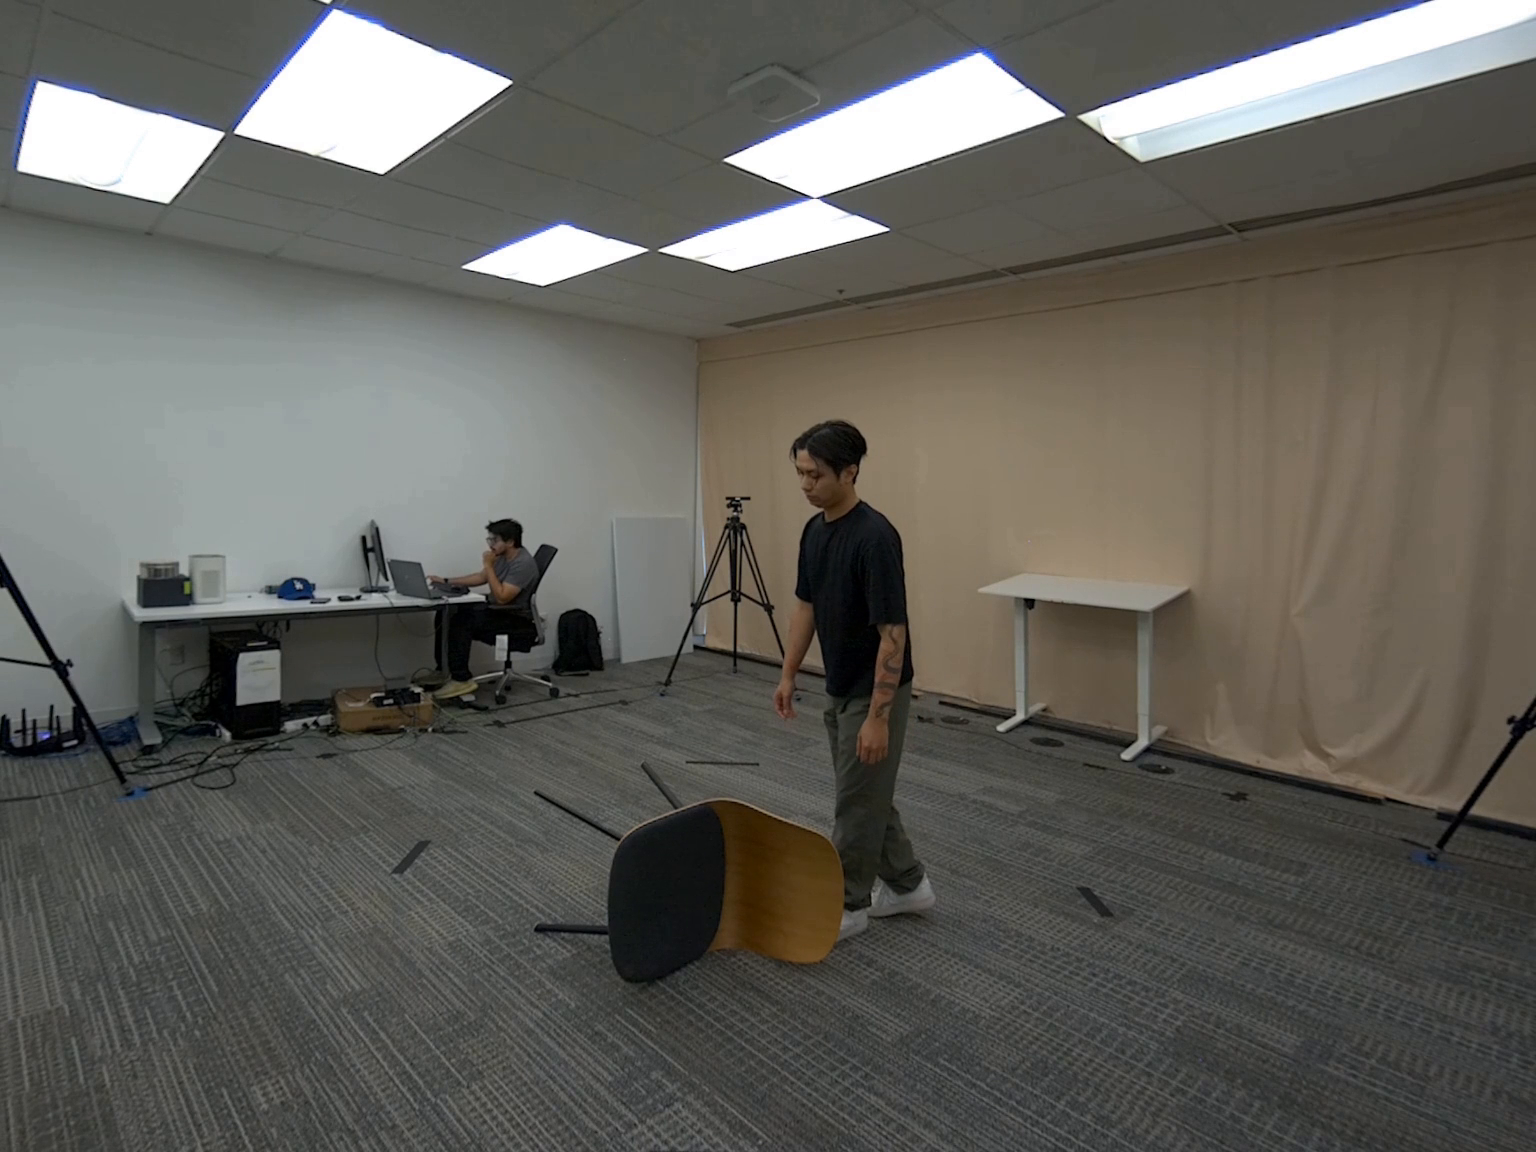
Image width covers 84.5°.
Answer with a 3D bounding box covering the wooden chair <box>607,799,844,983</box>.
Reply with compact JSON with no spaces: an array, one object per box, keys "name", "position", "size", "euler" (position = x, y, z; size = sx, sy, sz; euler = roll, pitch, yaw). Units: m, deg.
[{"name":"wooden chair","position":[-0.284,0.926,2.531],"size":[0.899,0.477,0.511],"euler":[4,4,38]}]
